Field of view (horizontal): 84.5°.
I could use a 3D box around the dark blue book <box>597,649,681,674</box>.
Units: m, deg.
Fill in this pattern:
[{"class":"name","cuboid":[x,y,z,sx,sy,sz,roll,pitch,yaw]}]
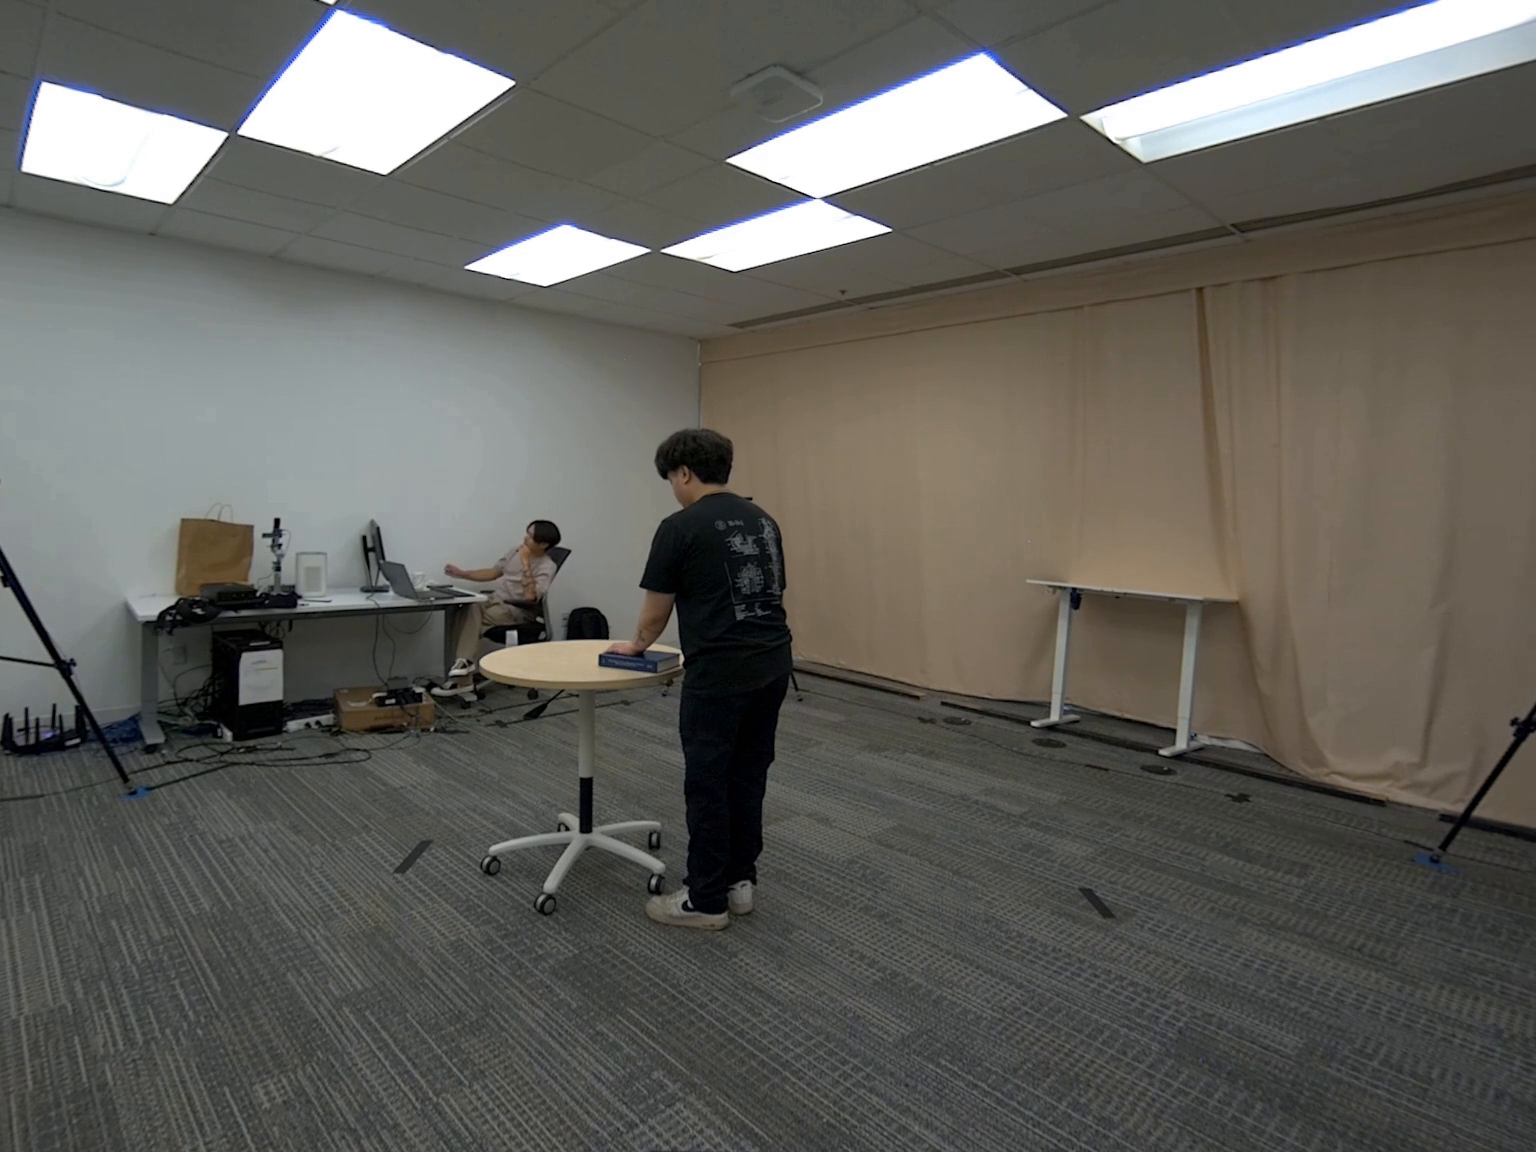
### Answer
[{"class":"dark blue book","cuboid":[-0.459,0.295,2.991,0.250,0.045,0.161,3,6,25]}]
